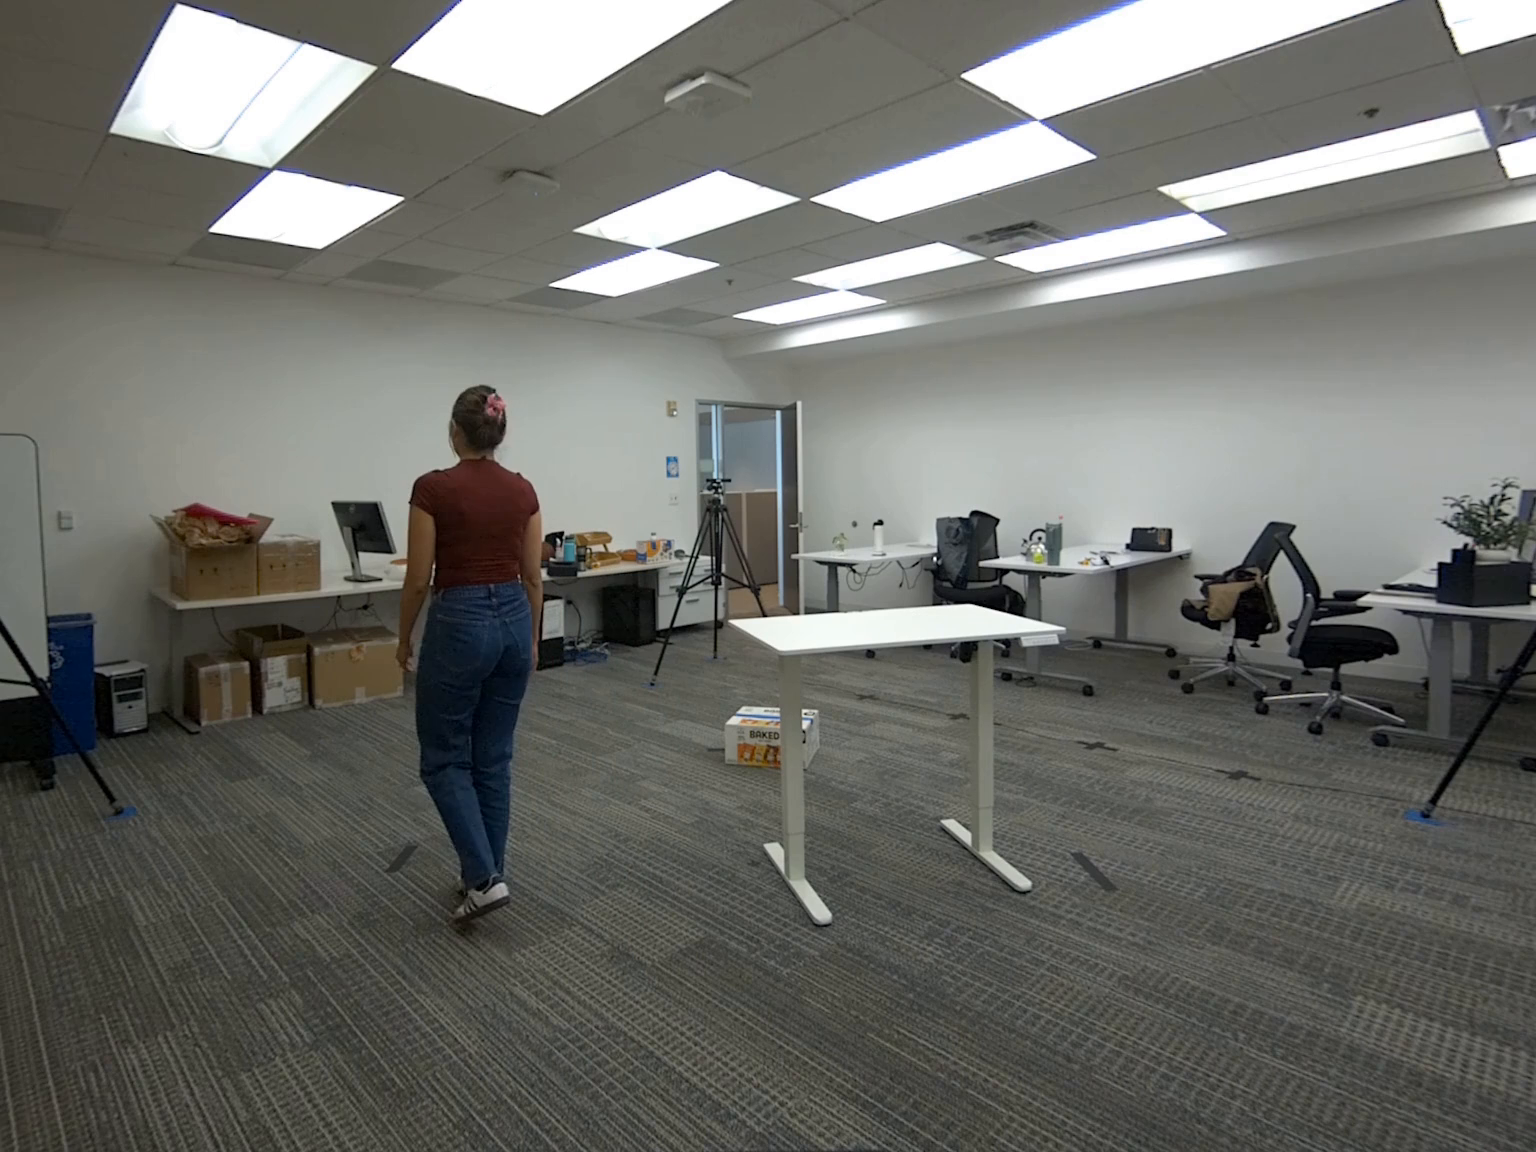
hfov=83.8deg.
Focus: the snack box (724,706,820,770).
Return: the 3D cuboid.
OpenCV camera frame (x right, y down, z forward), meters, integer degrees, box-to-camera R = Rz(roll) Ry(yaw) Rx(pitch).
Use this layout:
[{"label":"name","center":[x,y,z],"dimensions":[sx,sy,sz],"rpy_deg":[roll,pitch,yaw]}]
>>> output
[{"label":"snack box","center":[0.023,0.810,4.309],"dimensions":[0.411,0.205,0.337],"rpy_deg":[0,6,15]}]
